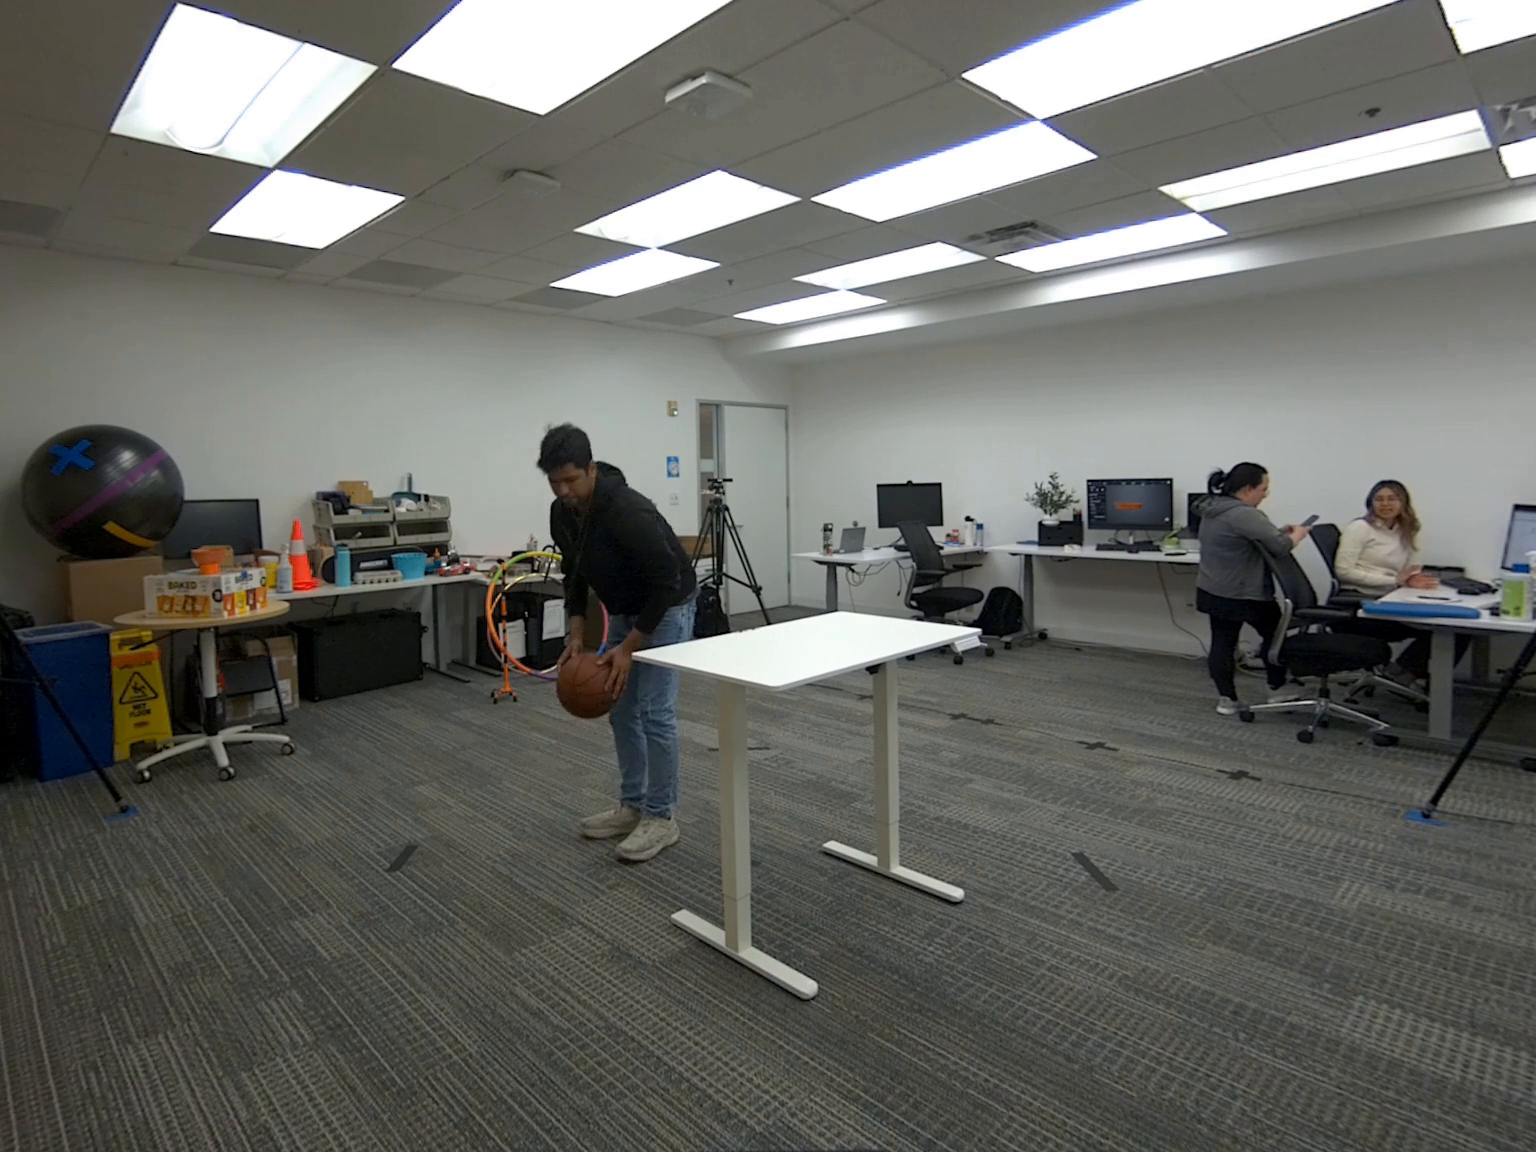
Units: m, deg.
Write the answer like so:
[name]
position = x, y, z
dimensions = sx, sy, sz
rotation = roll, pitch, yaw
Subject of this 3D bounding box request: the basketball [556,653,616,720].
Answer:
[basketball]
position = -0.661, 0.411, 3.144
dimensions = 0.236, 0.235, 0.237
rotation = -1, 5, -2
